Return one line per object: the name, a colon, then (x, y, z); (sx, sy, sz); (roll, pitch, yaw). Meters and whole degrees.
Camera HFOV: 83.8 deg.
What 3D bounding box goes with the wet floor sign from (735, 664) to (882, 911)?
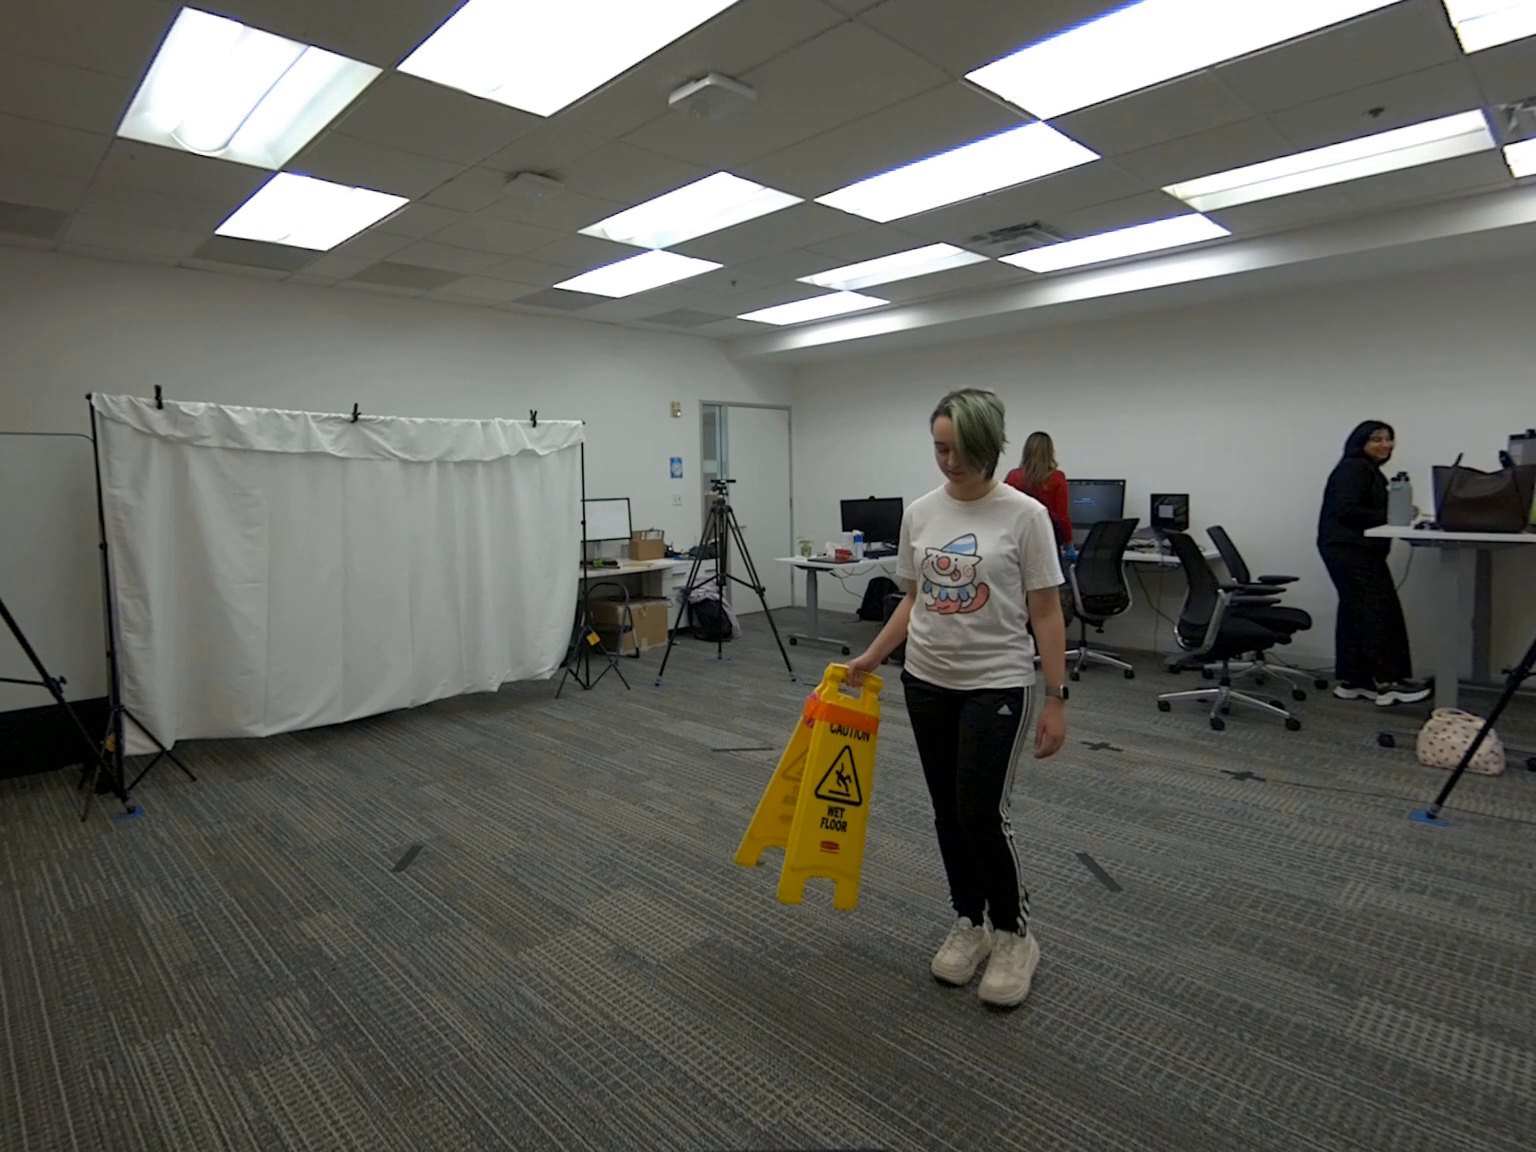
wet floor sign: (0.172, 0.592, 2.481); (0.274, 0.648, 0.298); (19, -5, -30)
